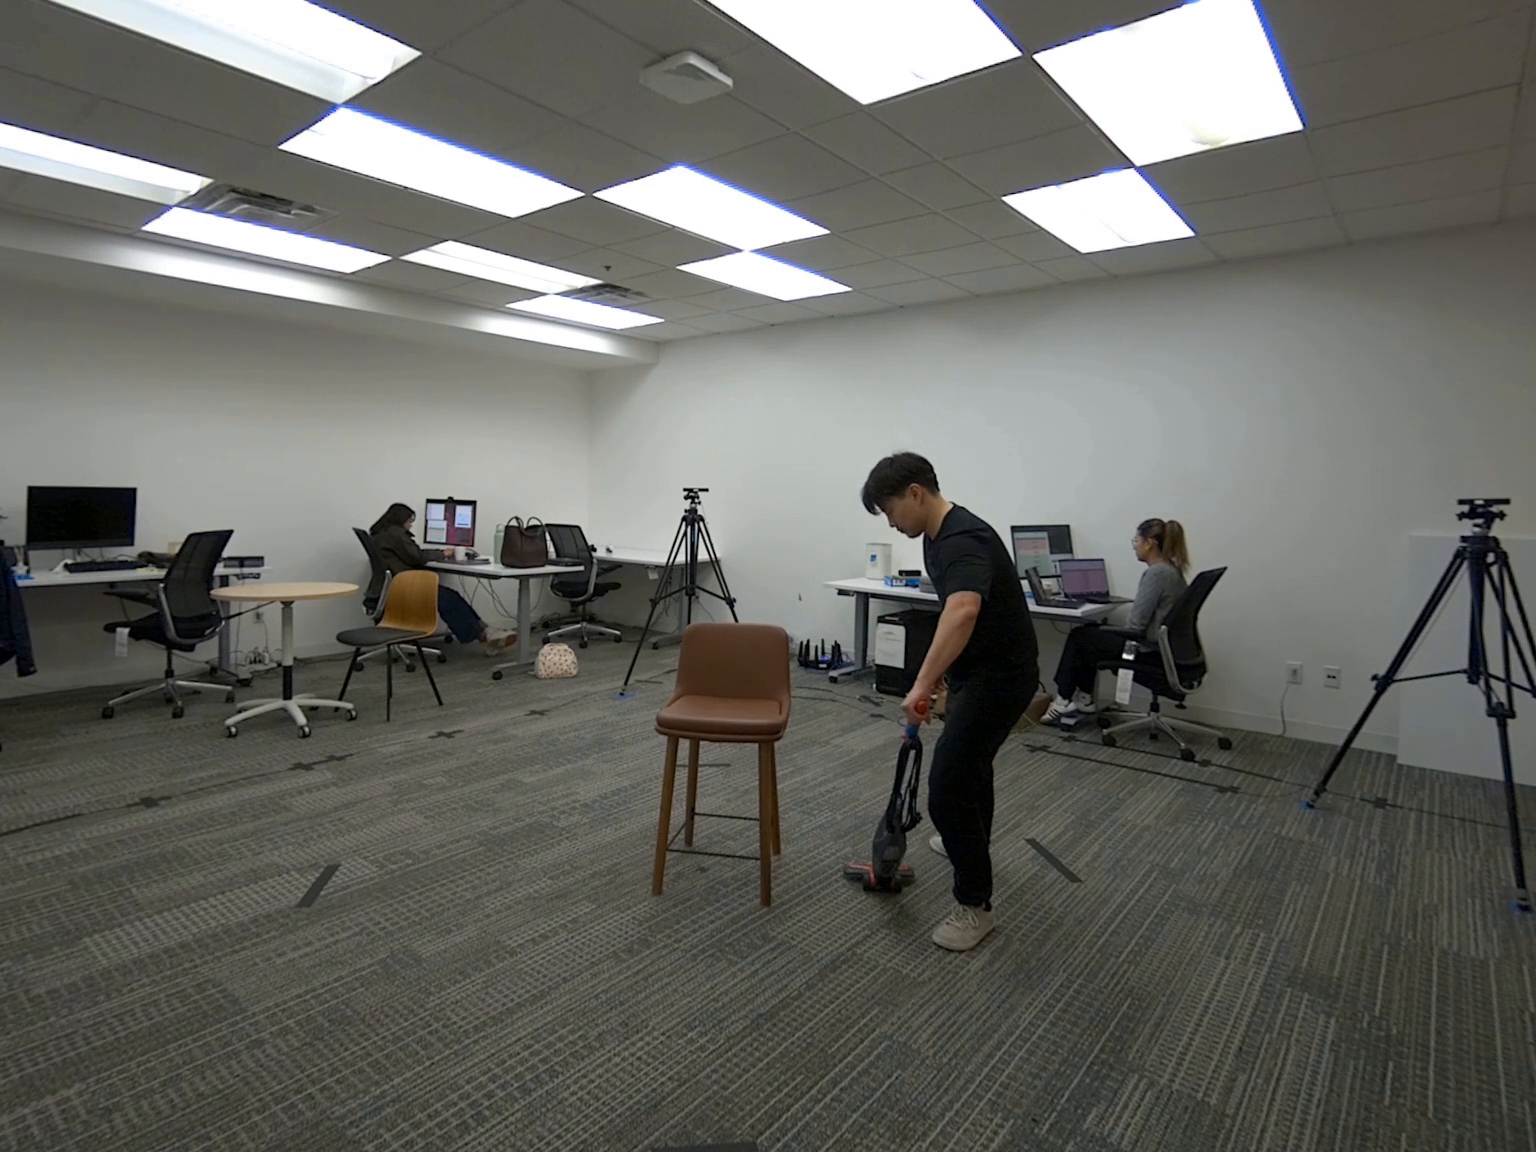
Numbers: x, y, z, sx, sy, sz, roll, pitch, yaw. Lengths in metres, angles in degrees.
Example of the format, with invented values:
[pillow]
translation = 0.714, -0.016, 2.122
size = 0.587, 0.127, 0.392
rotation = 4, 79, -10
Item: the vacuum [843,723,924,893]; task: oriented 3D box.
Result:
[vacuum]
translation = 0.395, 0.716, 2.675
size = 0.254, 1.019, 0.147
rotation = 6, 46, 5
